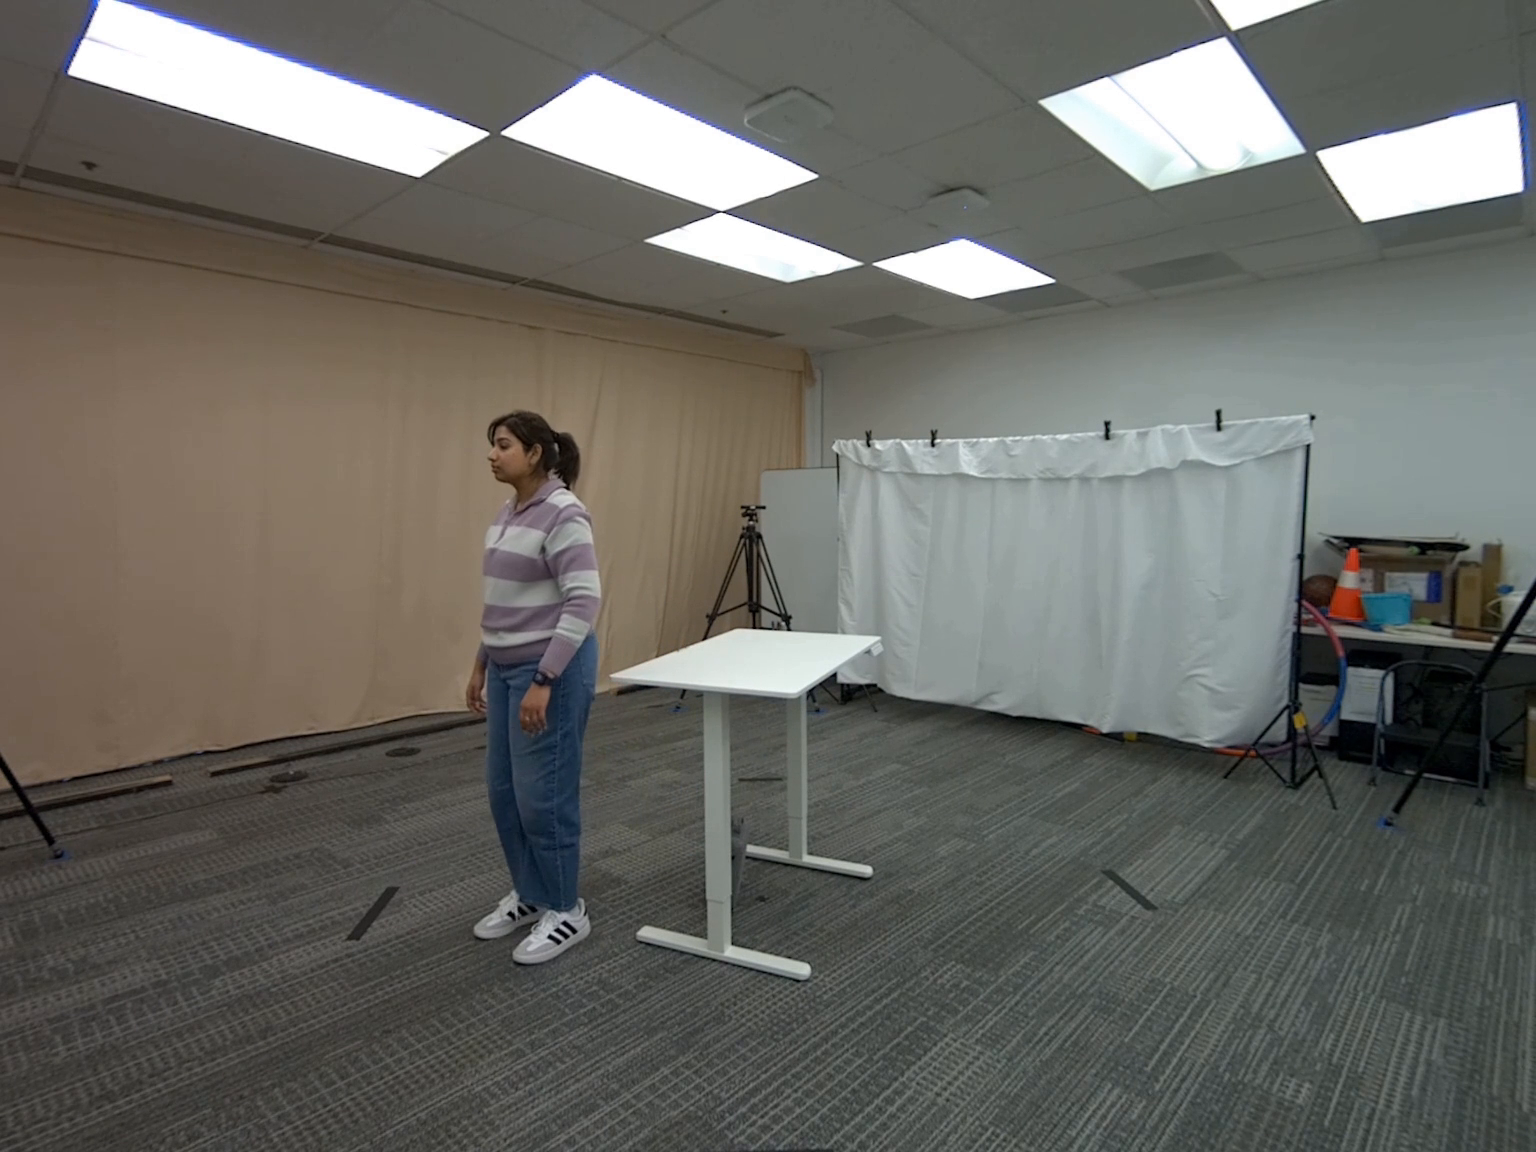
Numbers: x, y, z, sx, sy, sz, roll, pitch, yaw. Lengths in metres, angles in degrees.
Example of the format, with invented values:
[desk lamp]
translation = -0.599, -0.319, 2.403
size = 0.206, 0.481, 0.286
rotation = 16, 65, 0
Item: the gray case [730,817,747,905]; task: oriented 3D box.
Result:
[gray case]
translation = -0.130, 1.010, 3.006
size = 0.105, 0.260, 0.256
rotation = 8, 6, 3
